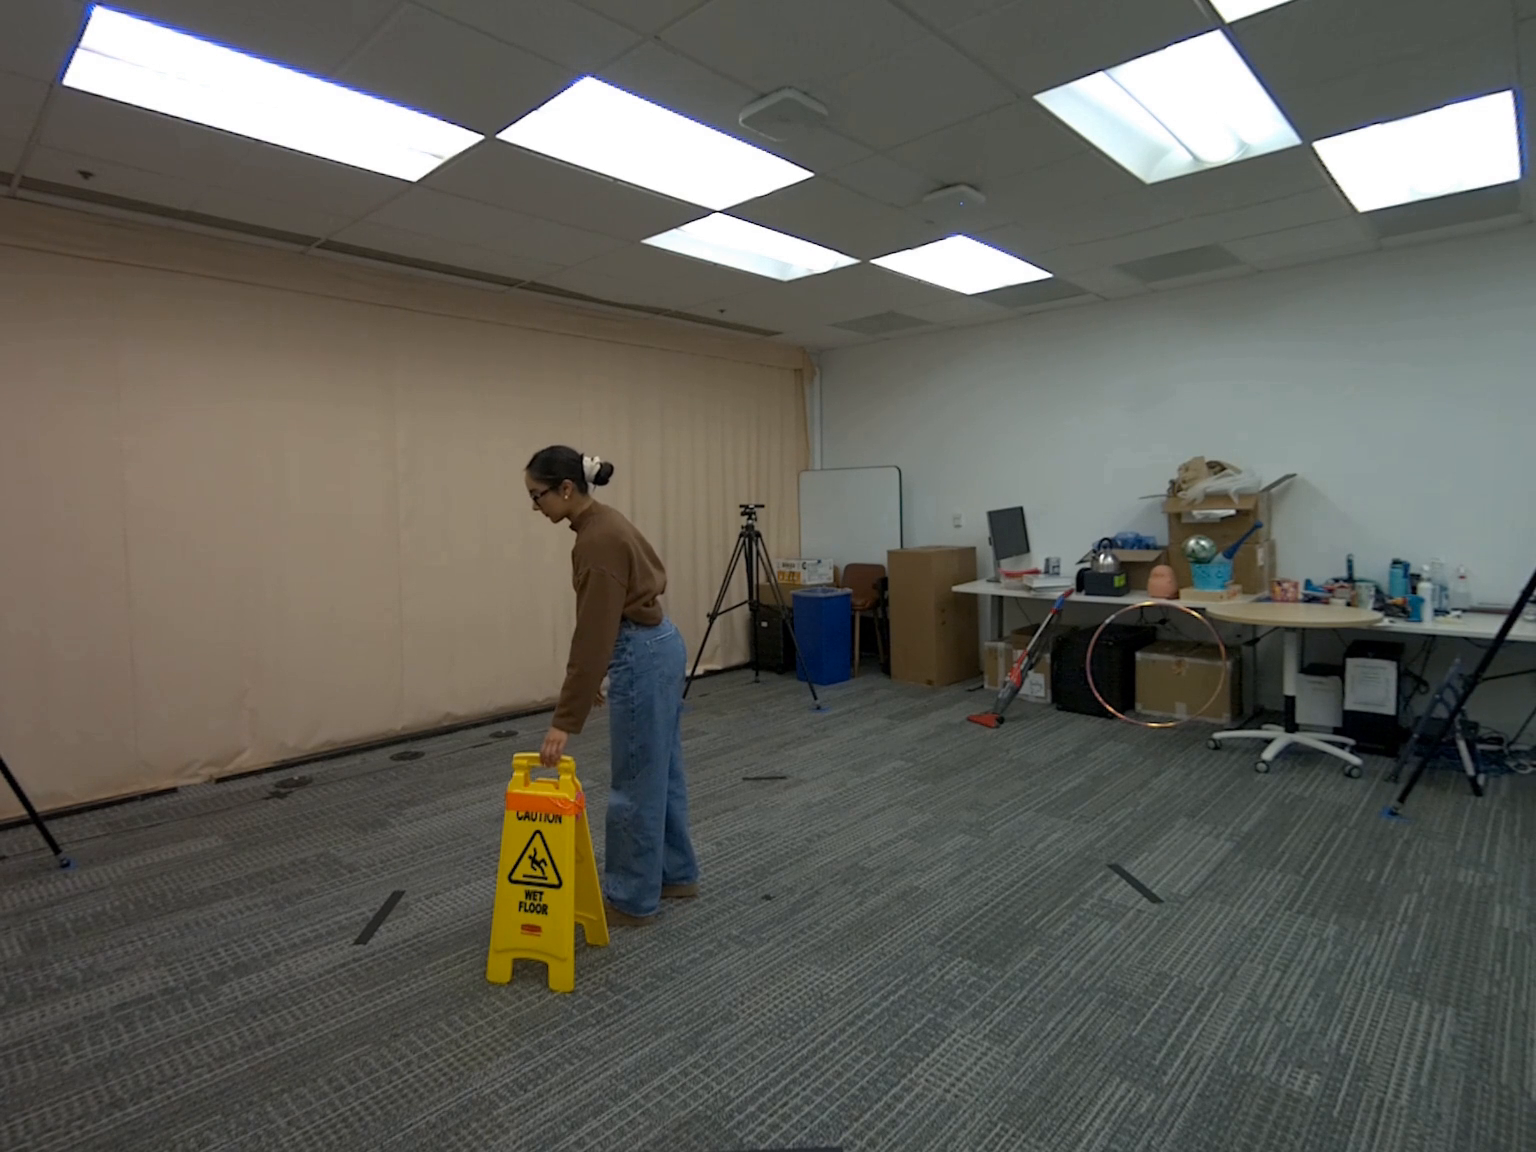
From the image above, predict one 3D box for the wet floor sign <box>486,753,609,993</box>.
[{"bbox_3d":[-0.676,0.863,2.572,0.286,0.645,0.286,-2,2,13],"label":"wet floor sign"}]
